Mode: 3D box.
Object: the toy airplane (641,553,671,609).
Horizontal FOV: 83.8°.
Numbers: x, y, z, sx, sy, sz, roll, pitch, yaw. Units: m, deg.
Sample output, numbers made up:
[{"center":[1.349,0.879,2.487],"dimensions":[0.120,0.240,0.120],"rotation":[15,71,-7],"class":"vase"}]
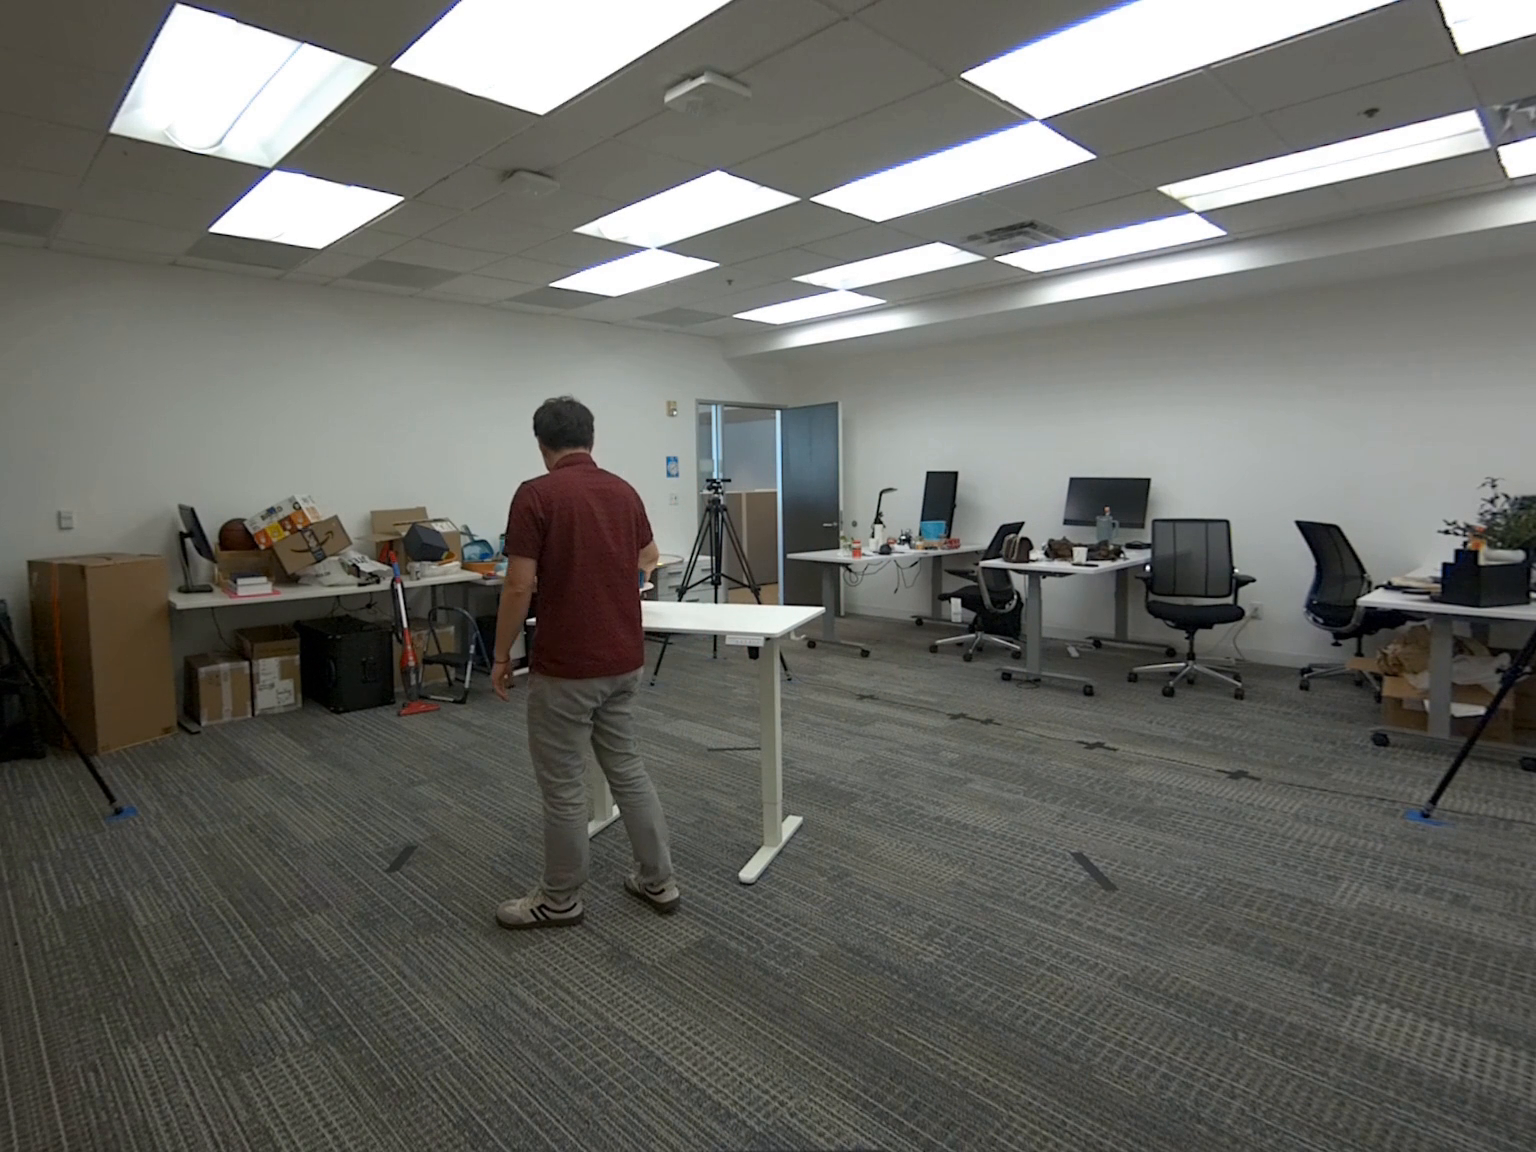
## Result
[{"center":[-0.555,0.000,3.365],"dimensions":[0.264,0.155,0.249],"rotation":[7,14,17],"class":"toy airplane"}]
